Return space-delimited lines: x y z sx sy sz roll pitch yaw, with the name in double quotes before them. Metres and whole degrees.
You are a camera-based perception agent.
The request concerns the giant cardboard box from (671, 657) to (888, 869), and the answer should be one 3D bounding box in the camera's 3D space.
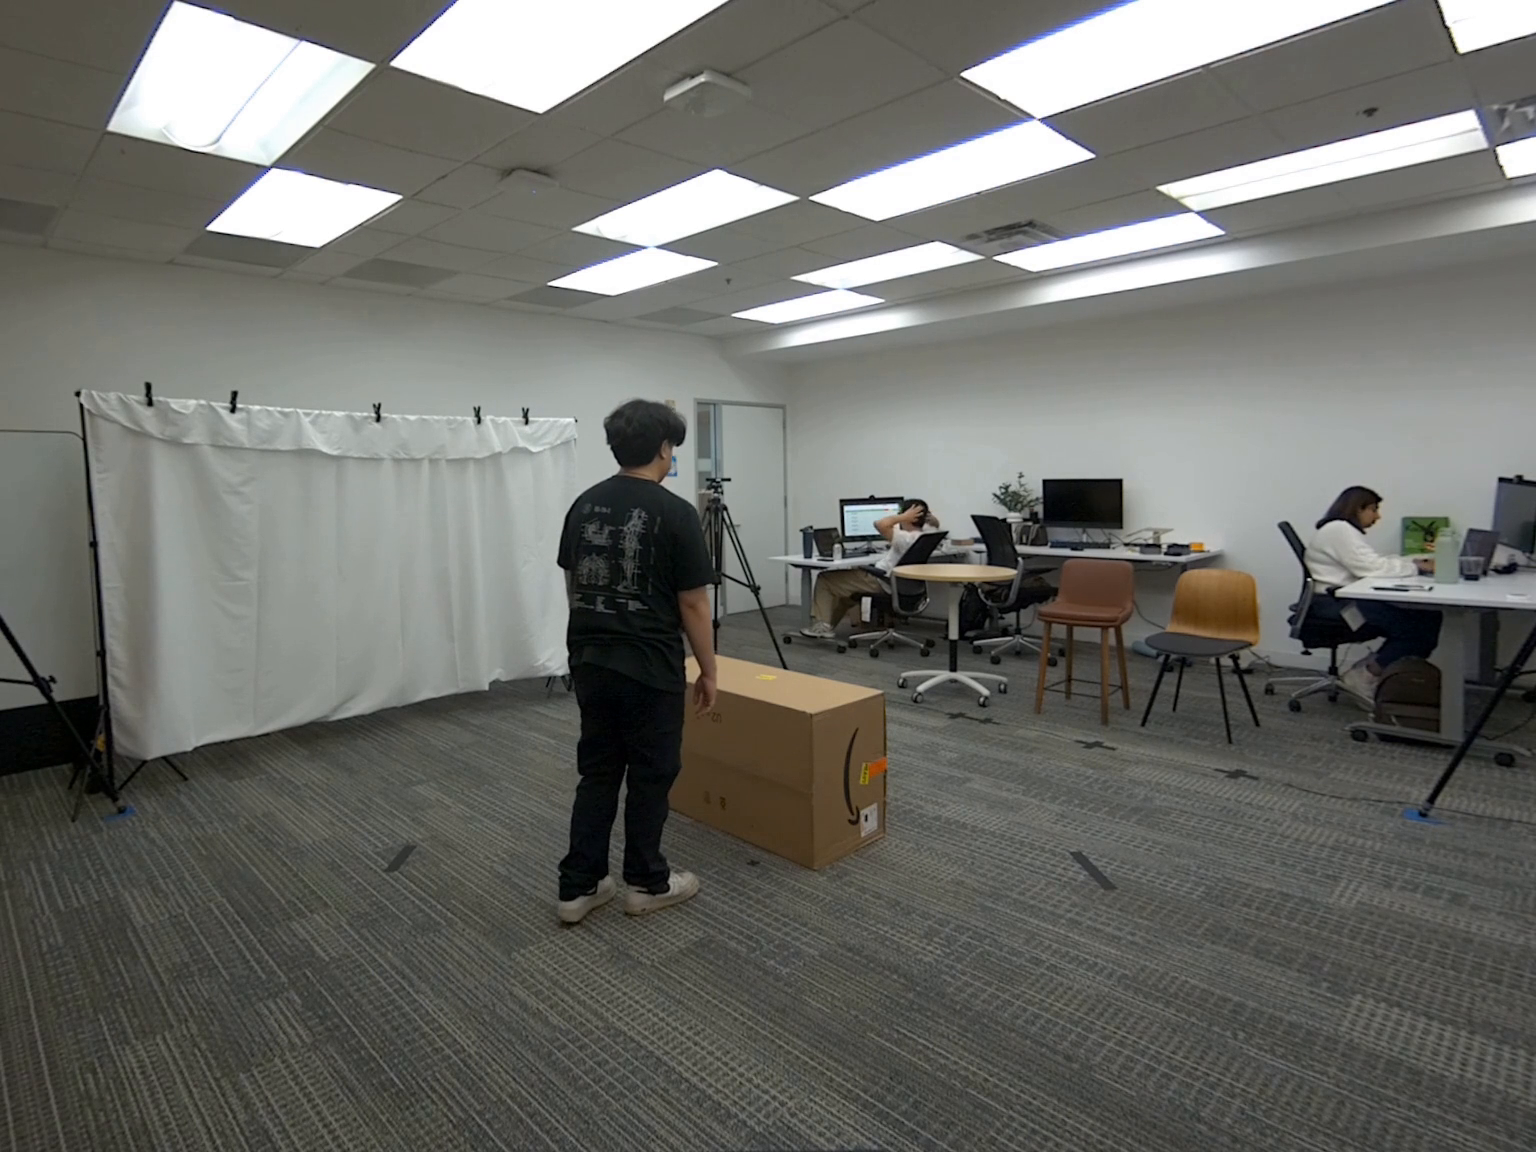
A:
"giant cardboard box" -0.054 0.709 3.527 0.435 0.582 1.059 -4 7 -44
